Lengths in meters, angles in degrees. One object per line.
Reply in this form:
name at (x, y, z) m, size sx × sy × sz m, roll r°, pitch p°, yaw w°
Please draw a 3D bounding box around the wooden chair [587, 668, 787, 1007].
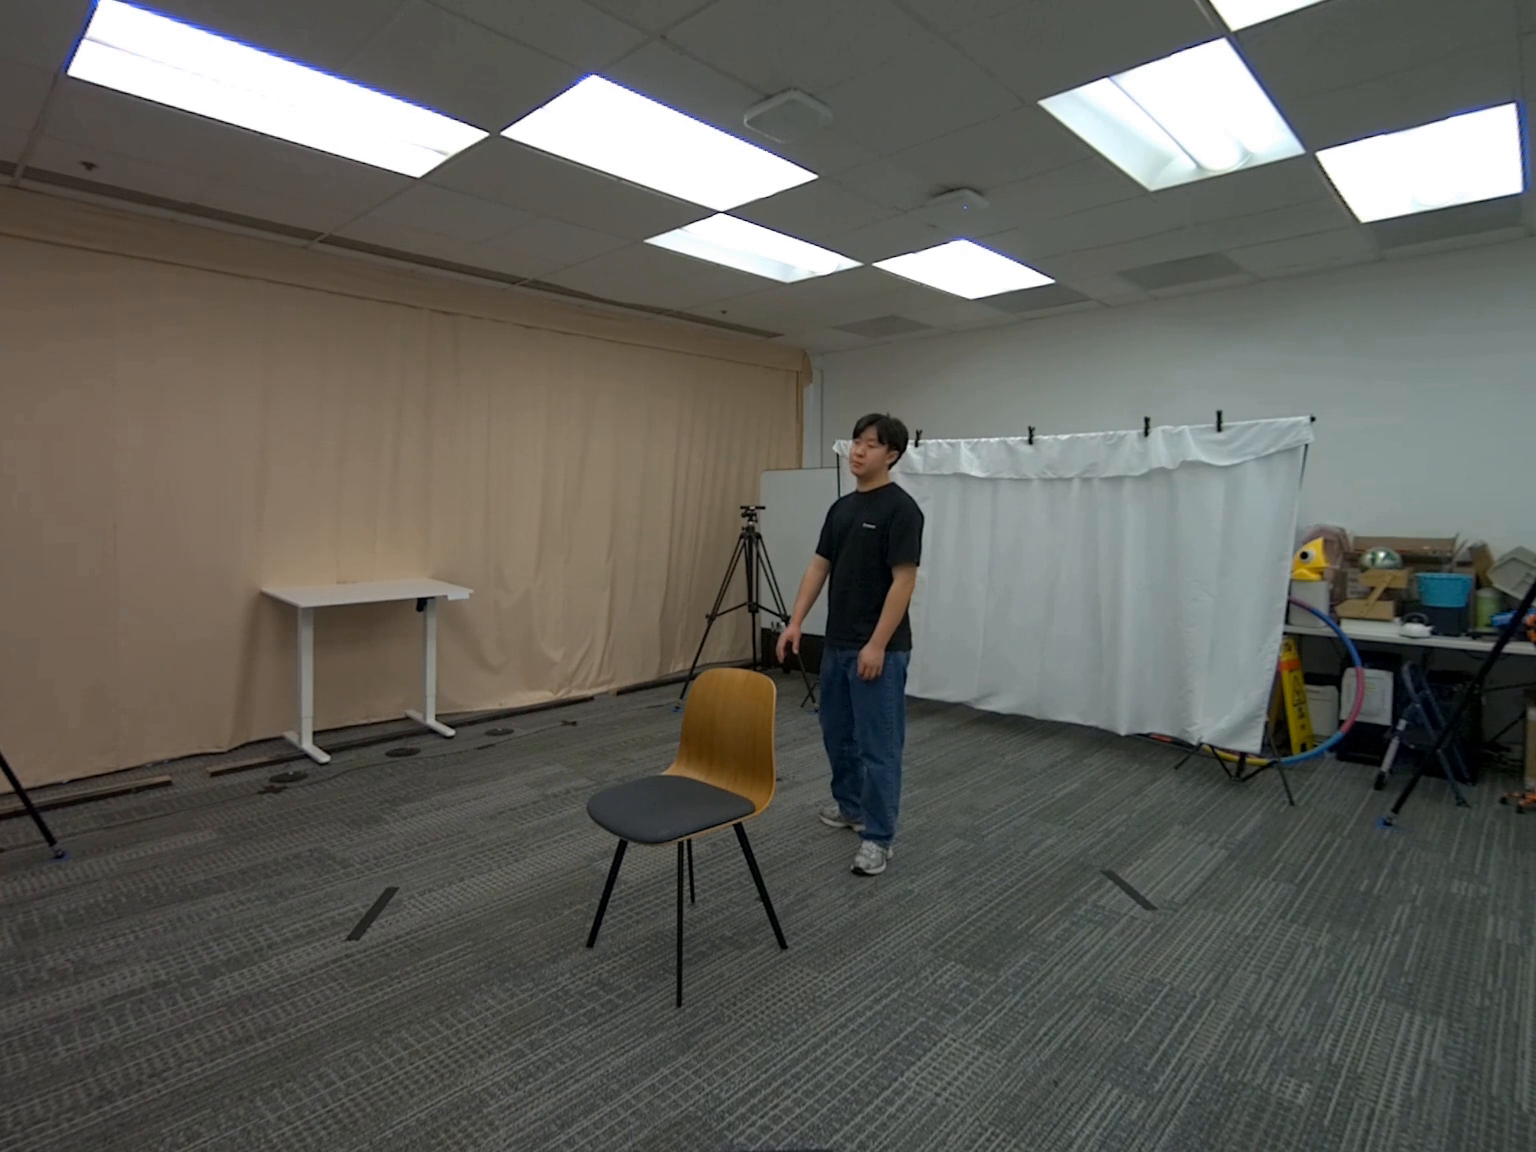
wooden chair at (-0.259, 0.748, 2.620) m, size 0.506 × 0.877 × 0.494 m, roll 3°, pitch 1°, yaw -45°
